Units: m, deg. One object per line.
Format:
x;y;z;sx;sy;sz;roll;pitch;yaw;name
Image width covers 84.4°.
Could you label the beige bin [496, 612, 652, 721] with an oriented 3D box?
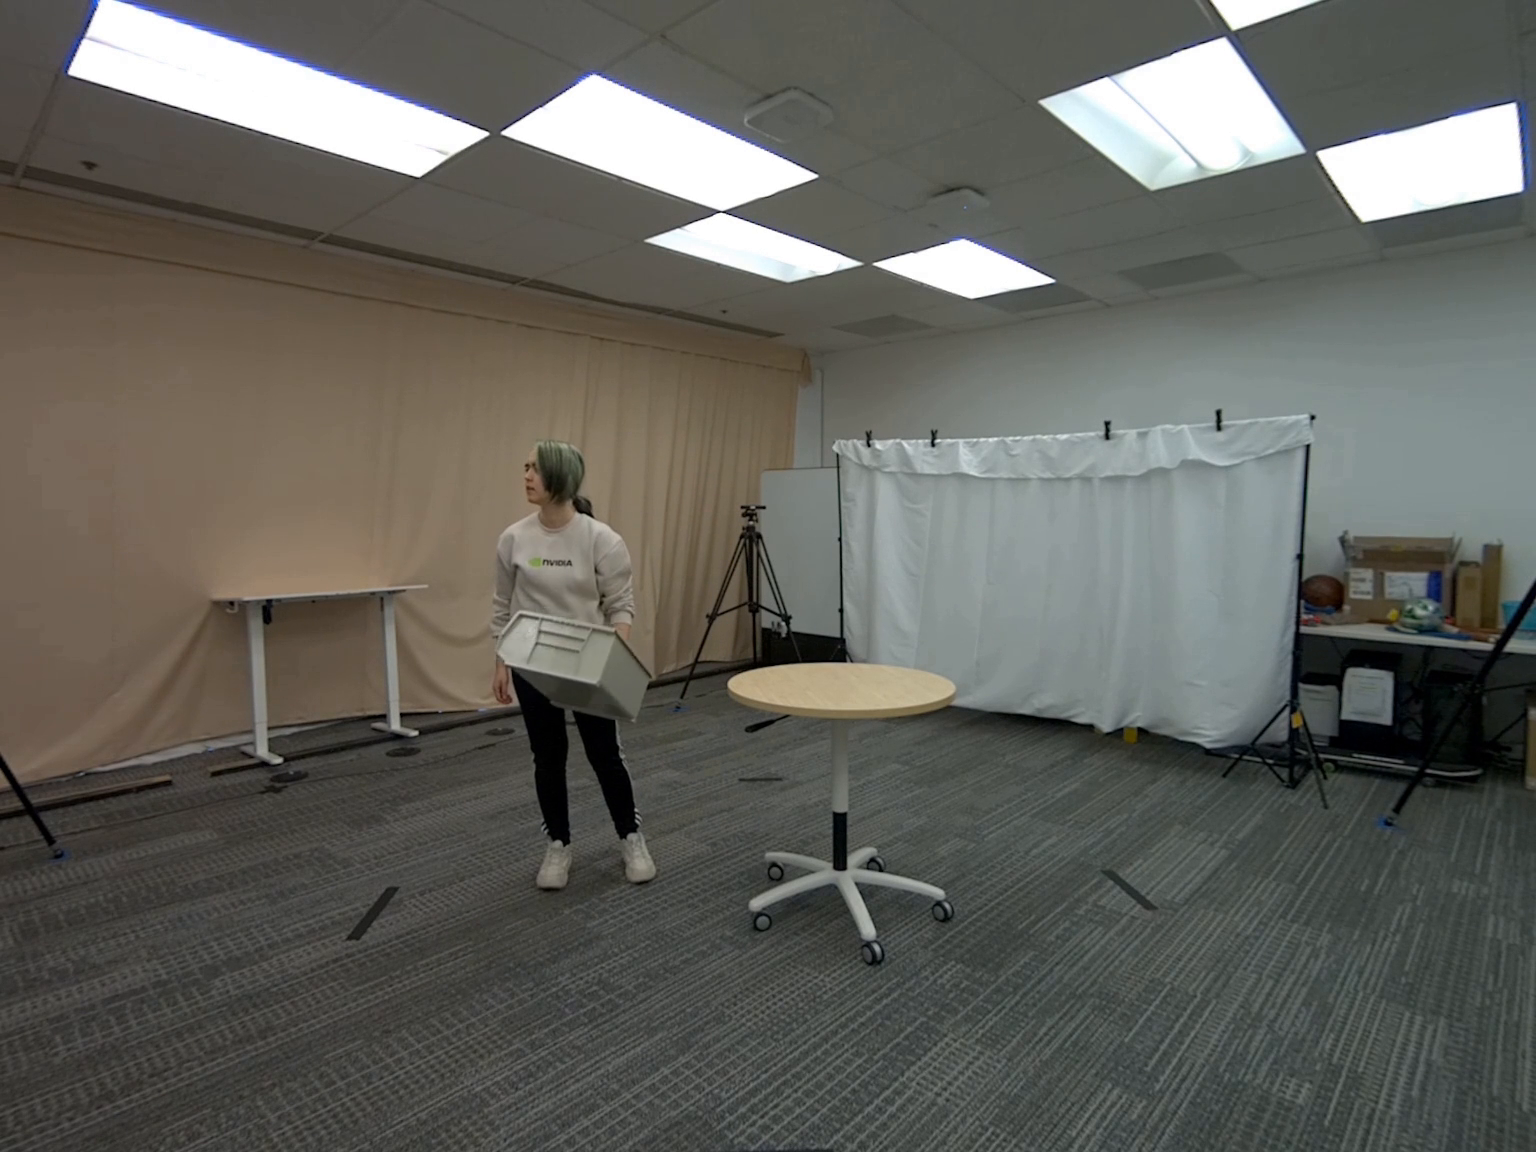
-0.630;0.304;2.723;0.385;0.190;0.411;10;-25;17;beige bin
